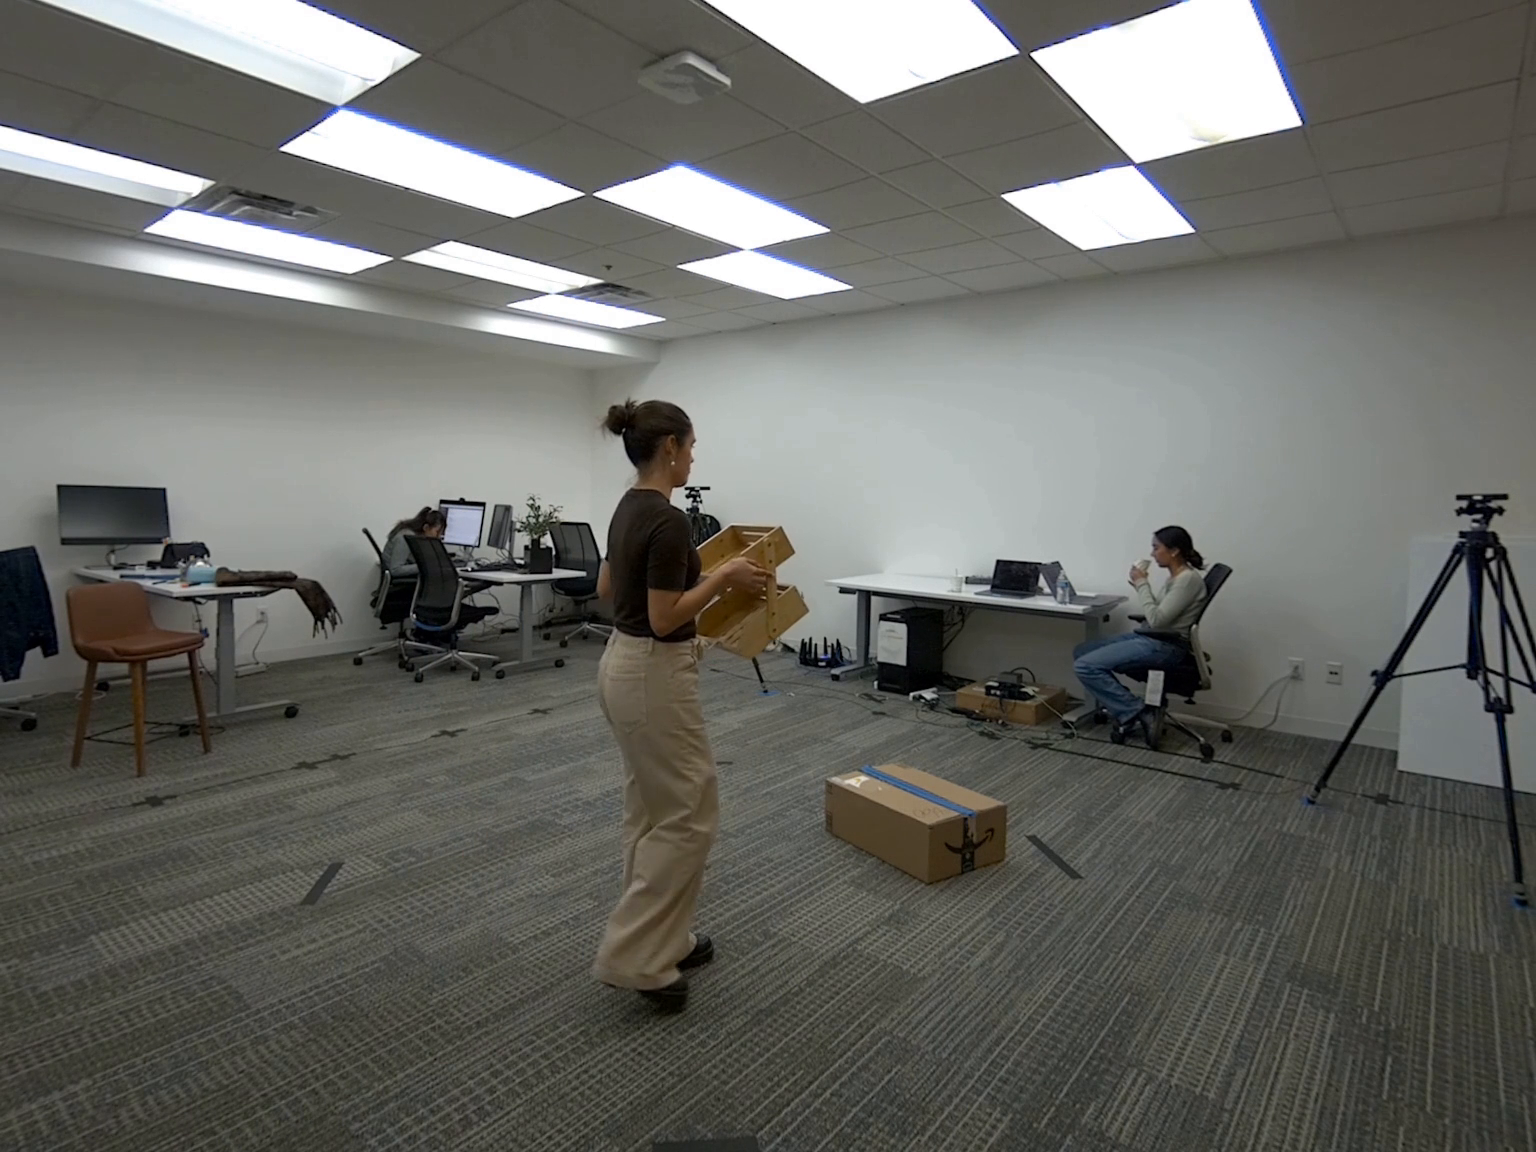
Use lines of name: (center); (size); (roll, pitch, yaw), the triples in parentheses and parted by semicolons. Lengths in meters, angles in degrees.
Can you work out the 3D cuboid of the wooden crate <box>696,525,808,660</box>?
wooden crate: (-0.103, 0.036, 2.483); (0.300, 0.267, 0.334); (-36, 19, -21)
